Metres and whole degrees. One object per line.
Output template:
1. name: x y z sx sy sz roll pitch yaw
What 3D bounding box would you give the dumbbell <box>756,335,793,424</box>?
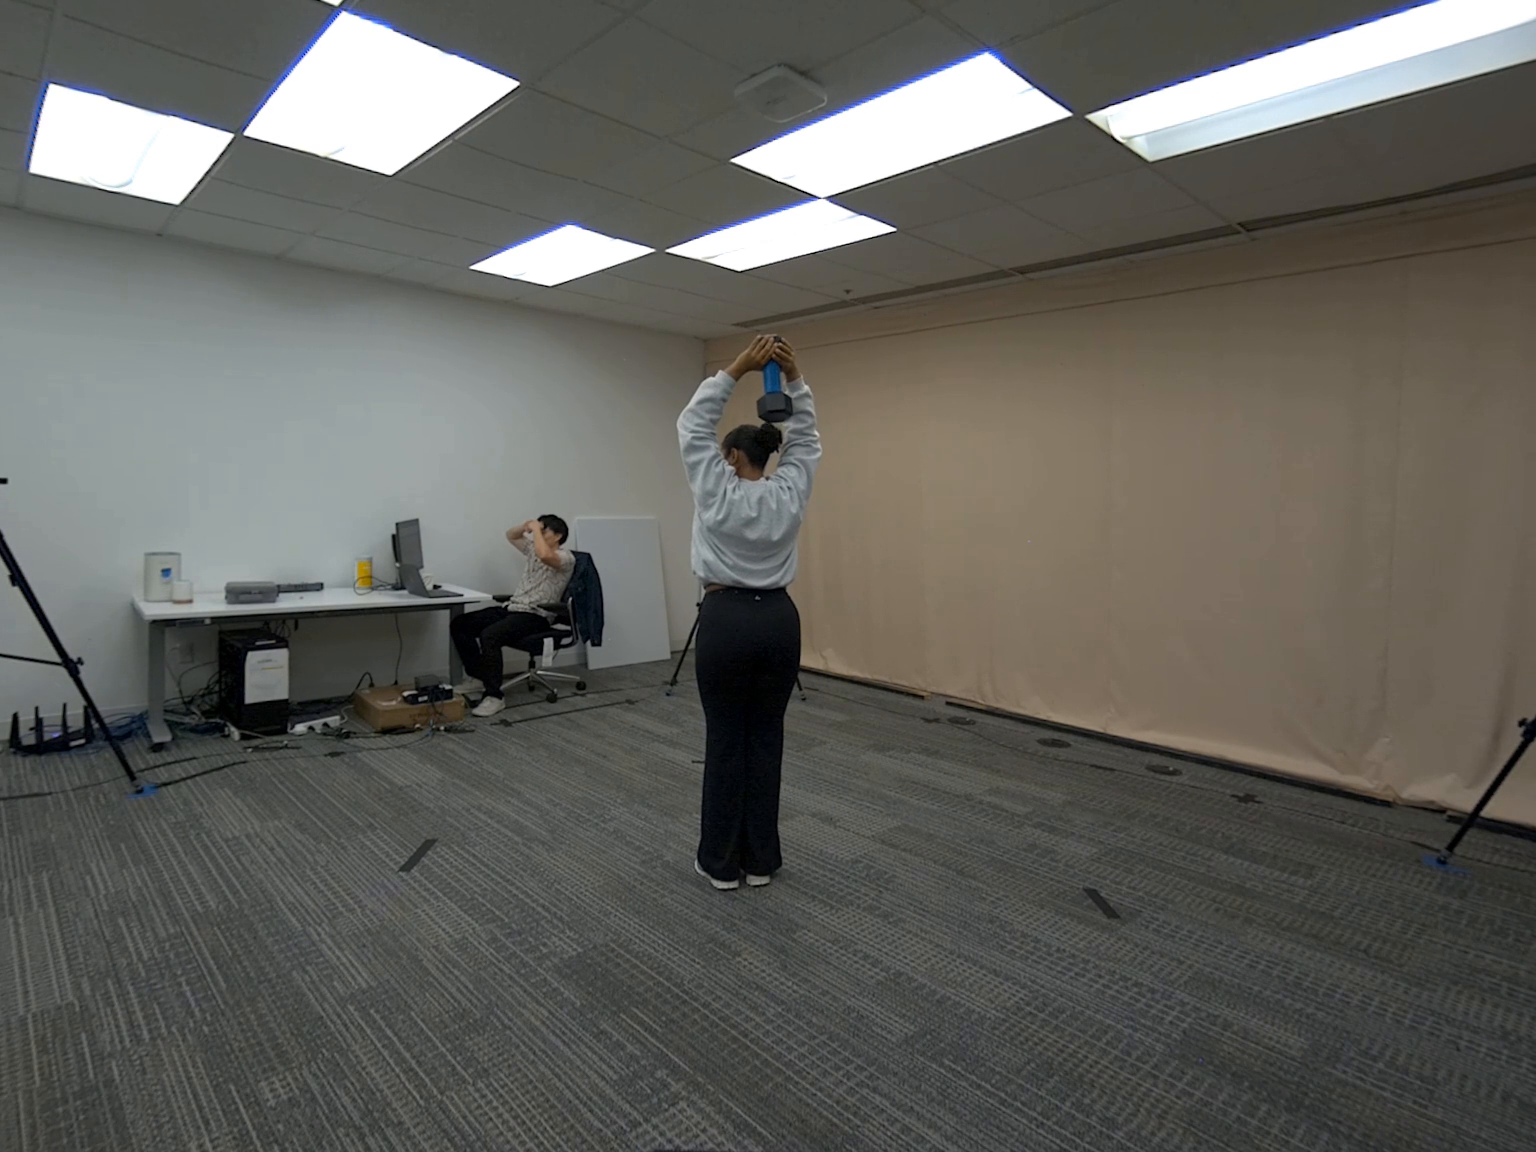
1. dumbbell: 0.005 -0.677 2.917 0.110 0.297 0.120 -13 -14 27
